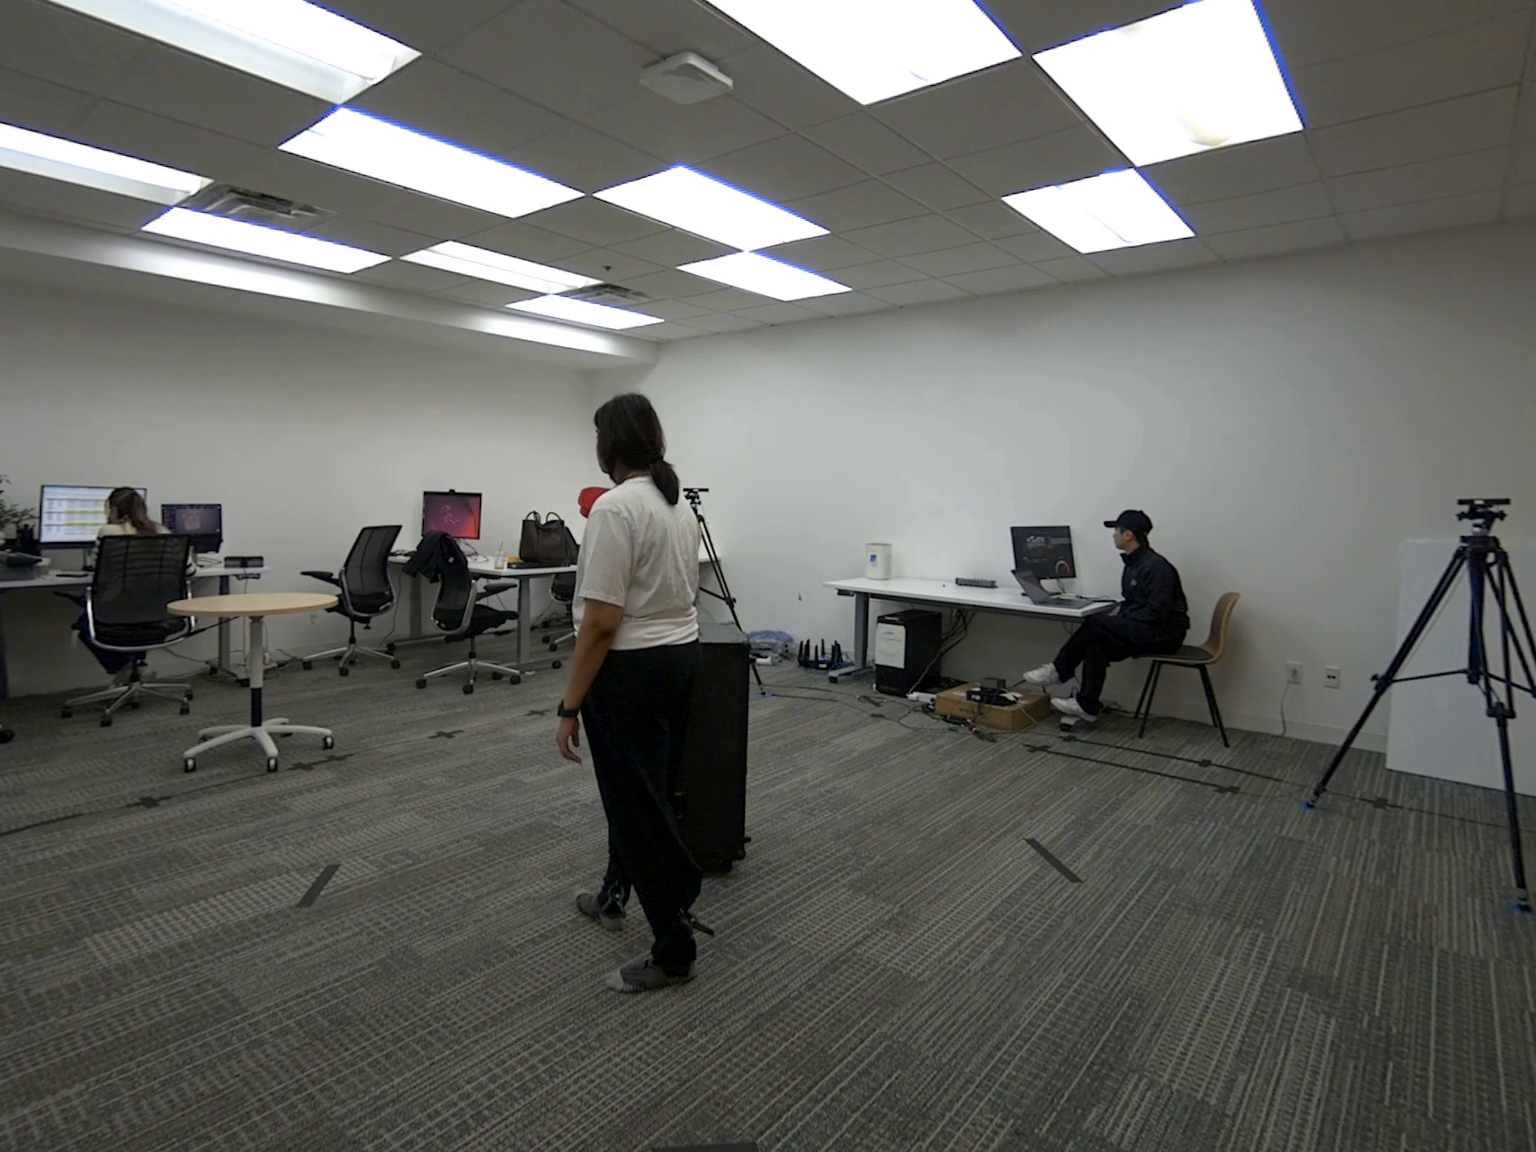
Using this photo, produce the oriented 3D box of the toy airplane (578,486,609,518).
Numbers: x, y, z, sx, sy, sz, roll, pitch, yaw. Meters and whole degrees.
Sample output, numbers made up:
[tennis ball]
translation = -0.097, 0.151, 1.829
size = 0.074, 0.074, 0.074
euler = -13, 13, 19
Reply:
[toy airplane]
translation = -0.488, -0.182, 2.810
size = 0.248, 0.268, 0.153
euler = -14, -32, -15
